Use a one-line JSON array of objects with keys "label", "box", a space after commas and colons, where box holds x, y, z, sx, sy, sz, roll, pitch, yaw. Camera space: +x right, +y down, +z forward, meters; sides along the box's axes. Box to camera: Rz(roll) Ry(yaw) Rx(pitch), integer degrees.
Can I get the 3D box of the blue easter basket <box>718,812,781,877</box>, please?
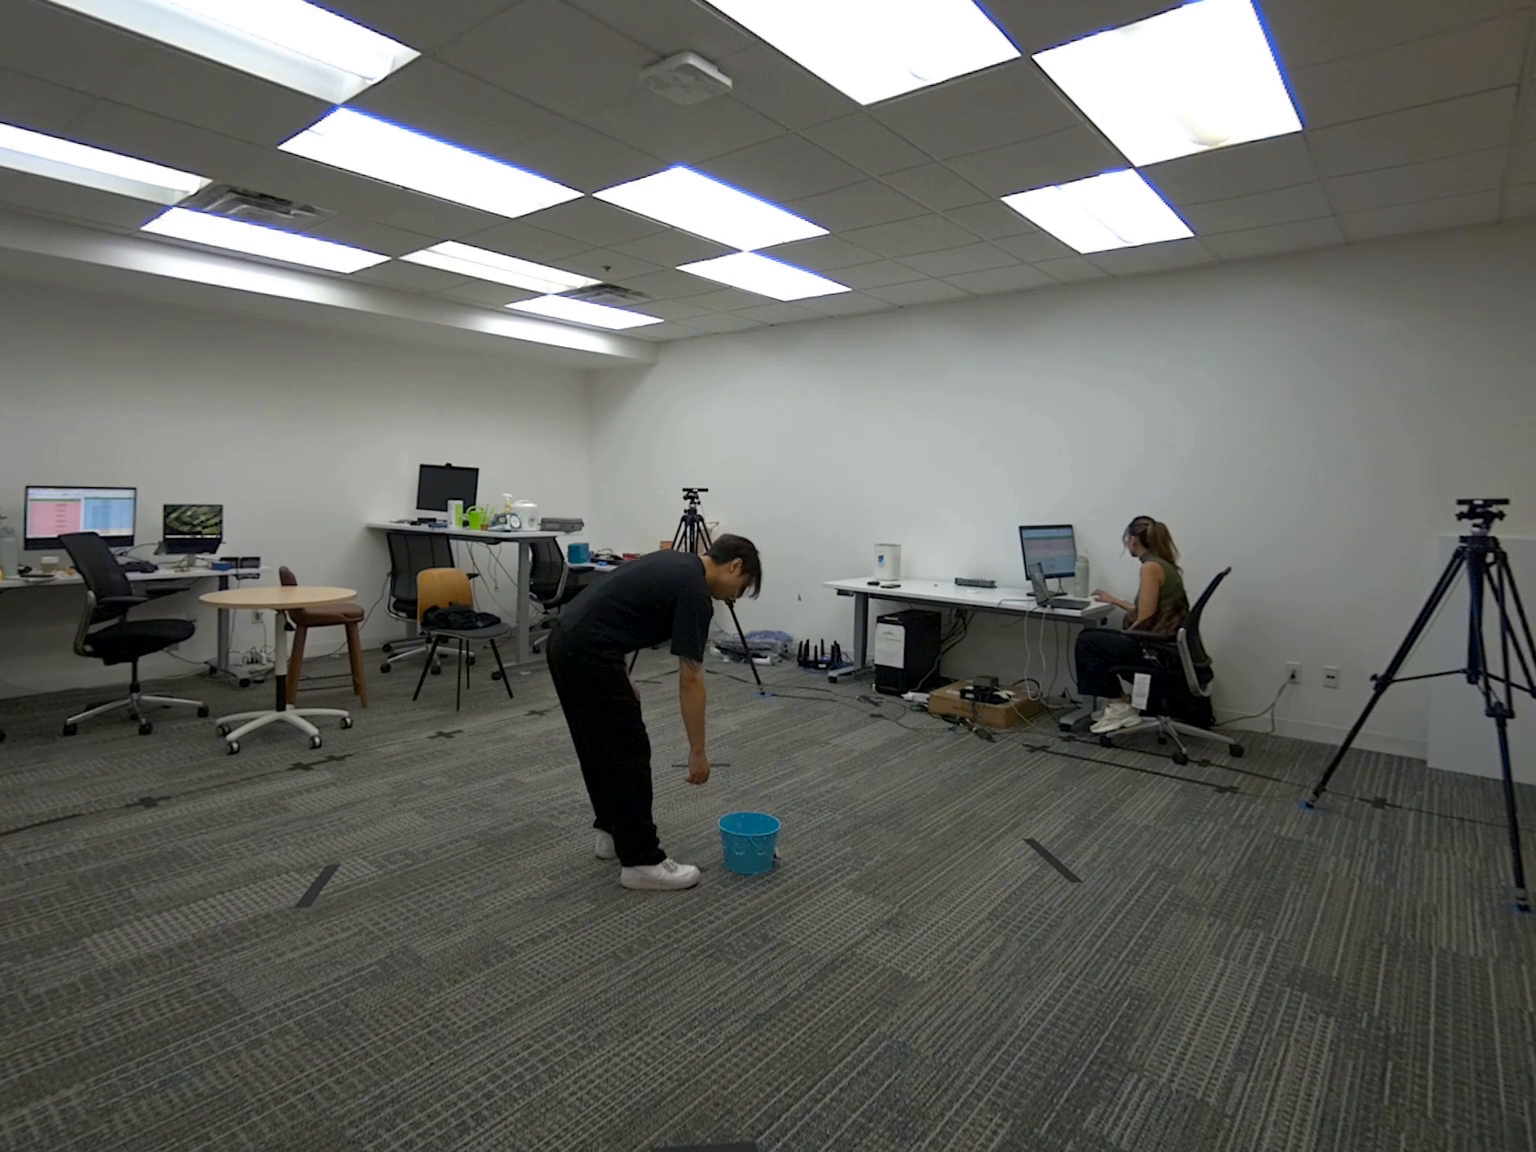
[{"label": "blue easter basket", "box": [-0.076, 0.991, 3.154, 0.243, 0.155, 0.245, 2, 4, -2]}]
